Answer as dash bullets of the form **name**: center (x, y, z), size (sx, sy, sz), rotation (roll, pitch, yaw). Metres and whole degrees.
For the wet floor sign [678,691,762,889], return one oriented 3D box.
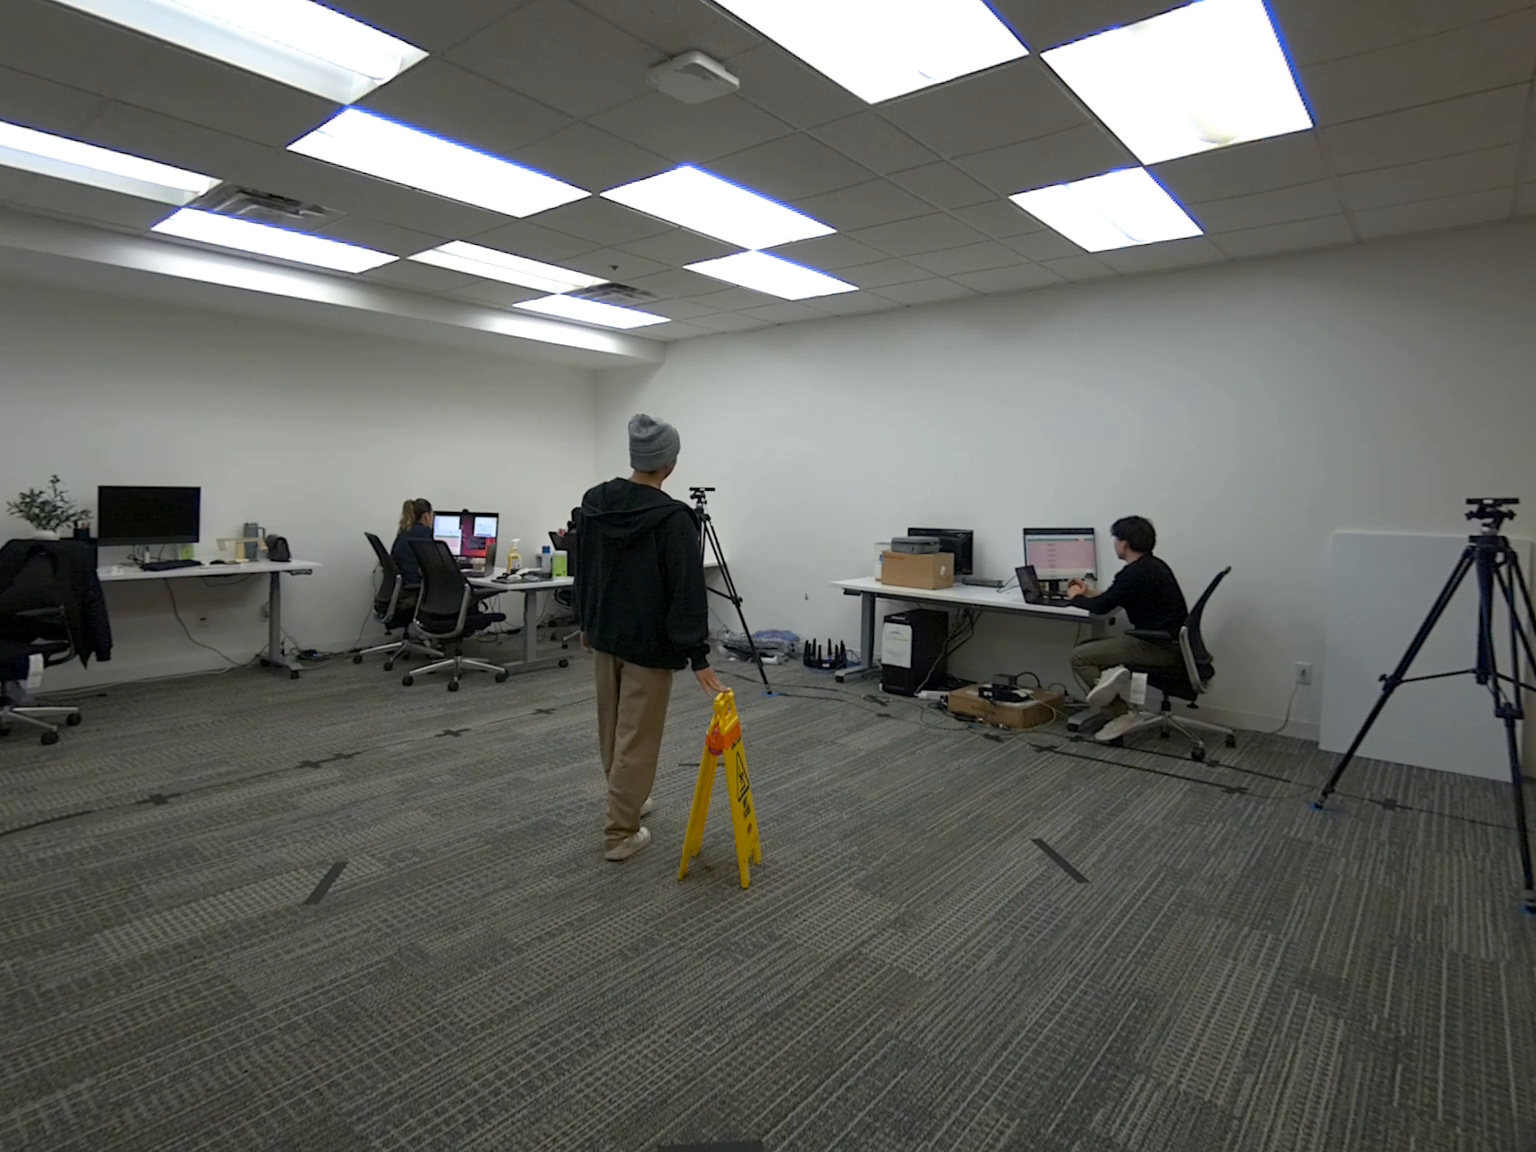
- **wet floor sign**: center (-0.171, 0.744, 3.091), size (0.294, 0.643, 0.279), rotation (3, 4, 11)
